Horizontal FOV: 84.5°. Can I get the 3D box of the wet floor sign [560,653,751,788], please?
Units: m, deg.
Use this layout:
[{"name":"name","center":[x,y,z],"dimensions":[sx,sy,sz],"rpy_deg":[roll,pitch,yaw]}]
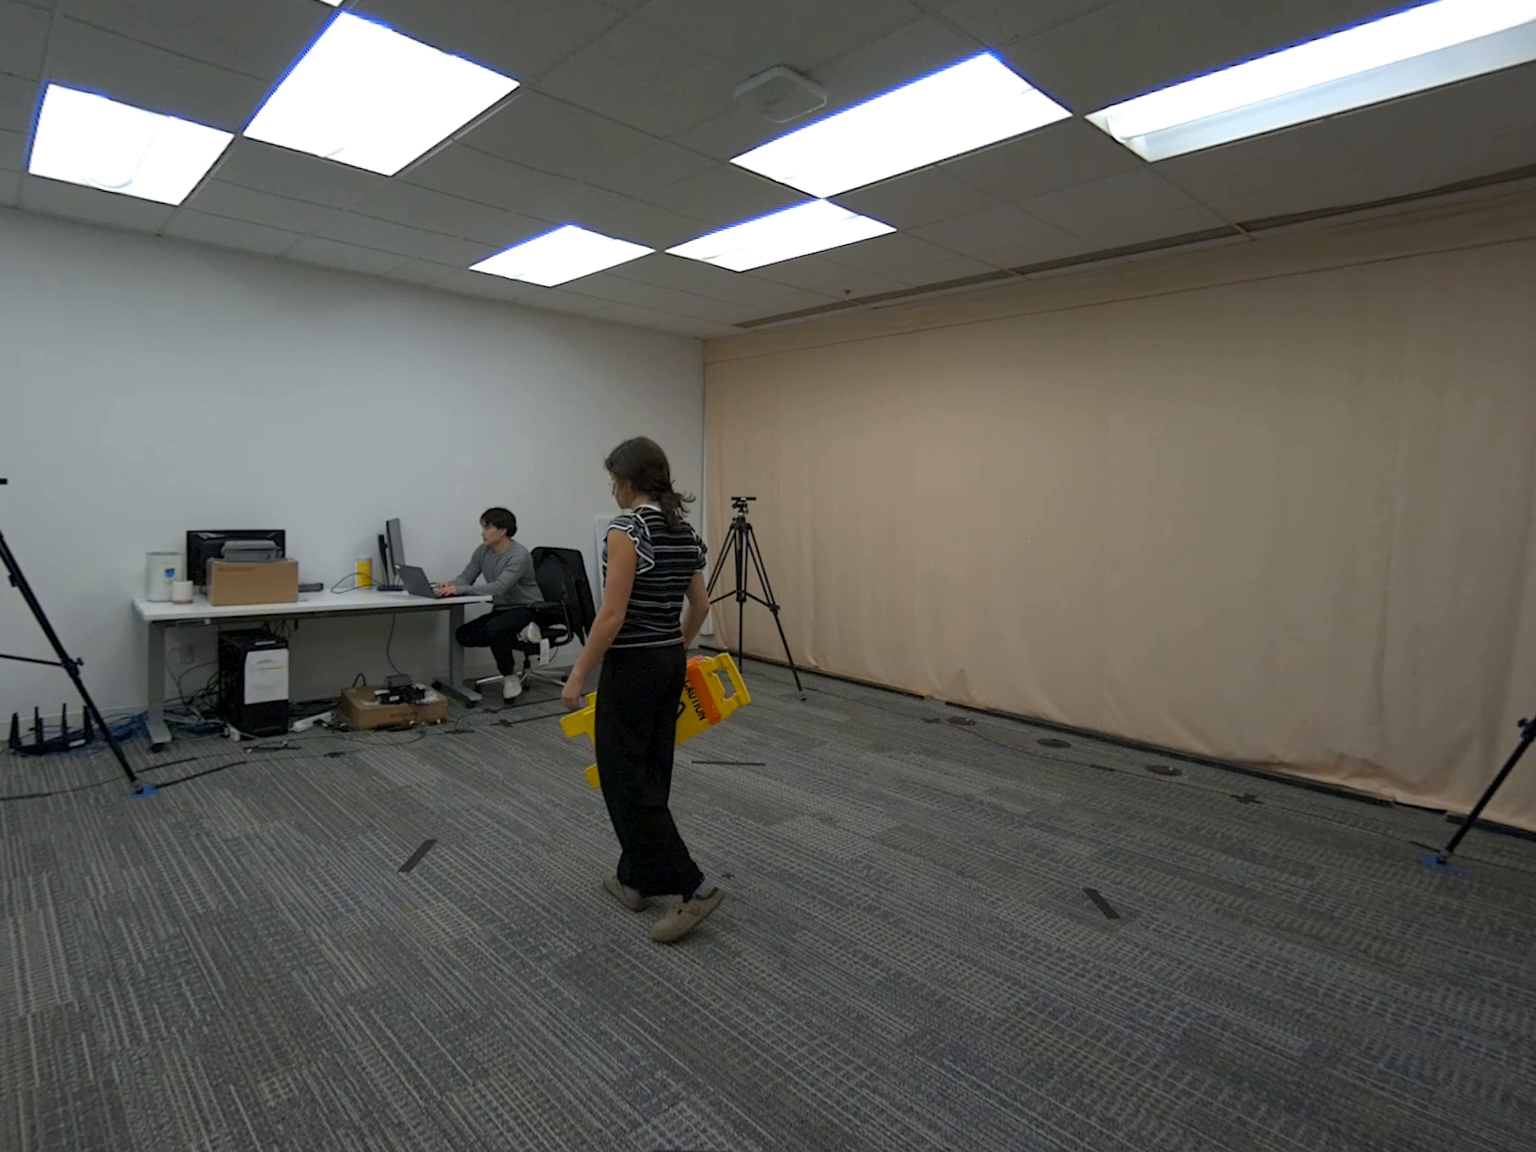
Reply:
[{"name":"wet floor sign","center":[-0.389,0.493,3.067],"dimensions":[0.649,0.282,0.288],"rpy_deg":[-24,2,13]}]
